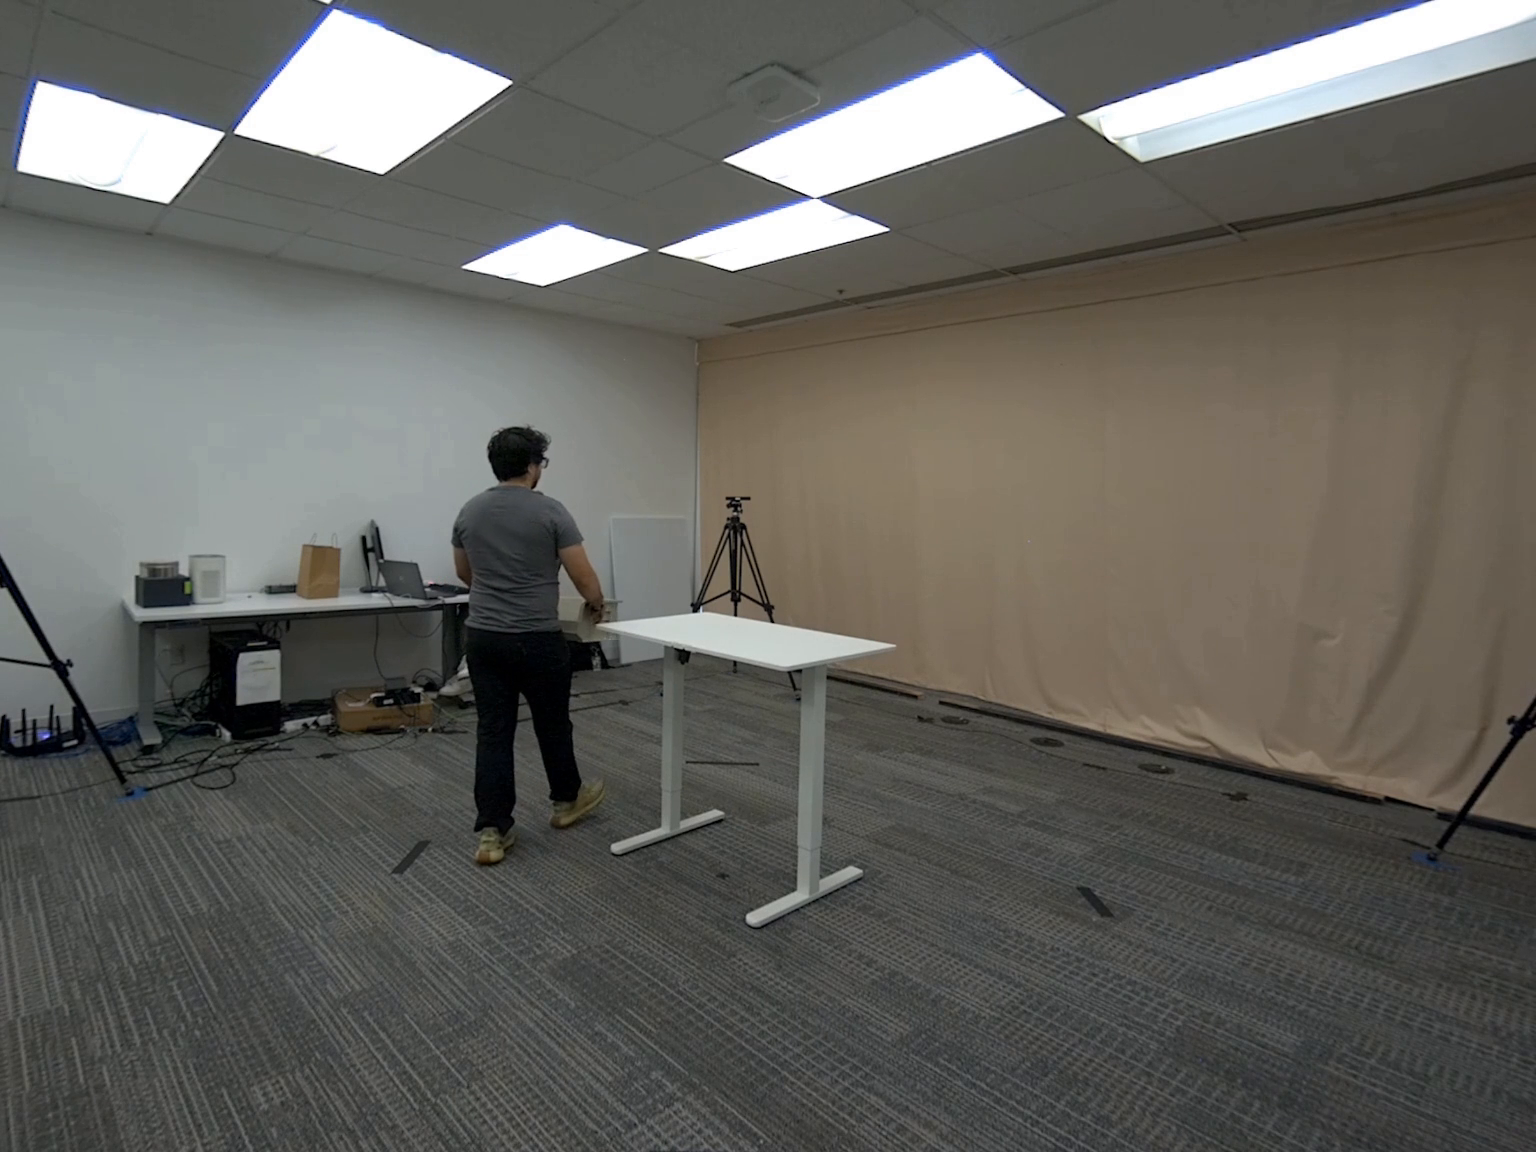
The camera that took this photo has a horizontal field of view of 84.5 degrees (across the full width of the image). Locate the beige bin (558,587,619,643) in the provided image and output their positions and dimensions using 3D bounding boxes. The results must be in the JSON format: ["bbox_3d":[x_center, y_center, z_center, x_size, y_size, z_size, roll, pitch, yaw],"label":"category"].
[{"bbox_3d":[-0.912,0.183,3.674,0.428,0.189,0.371,1,-3,18],"label":"beige bin"}]
